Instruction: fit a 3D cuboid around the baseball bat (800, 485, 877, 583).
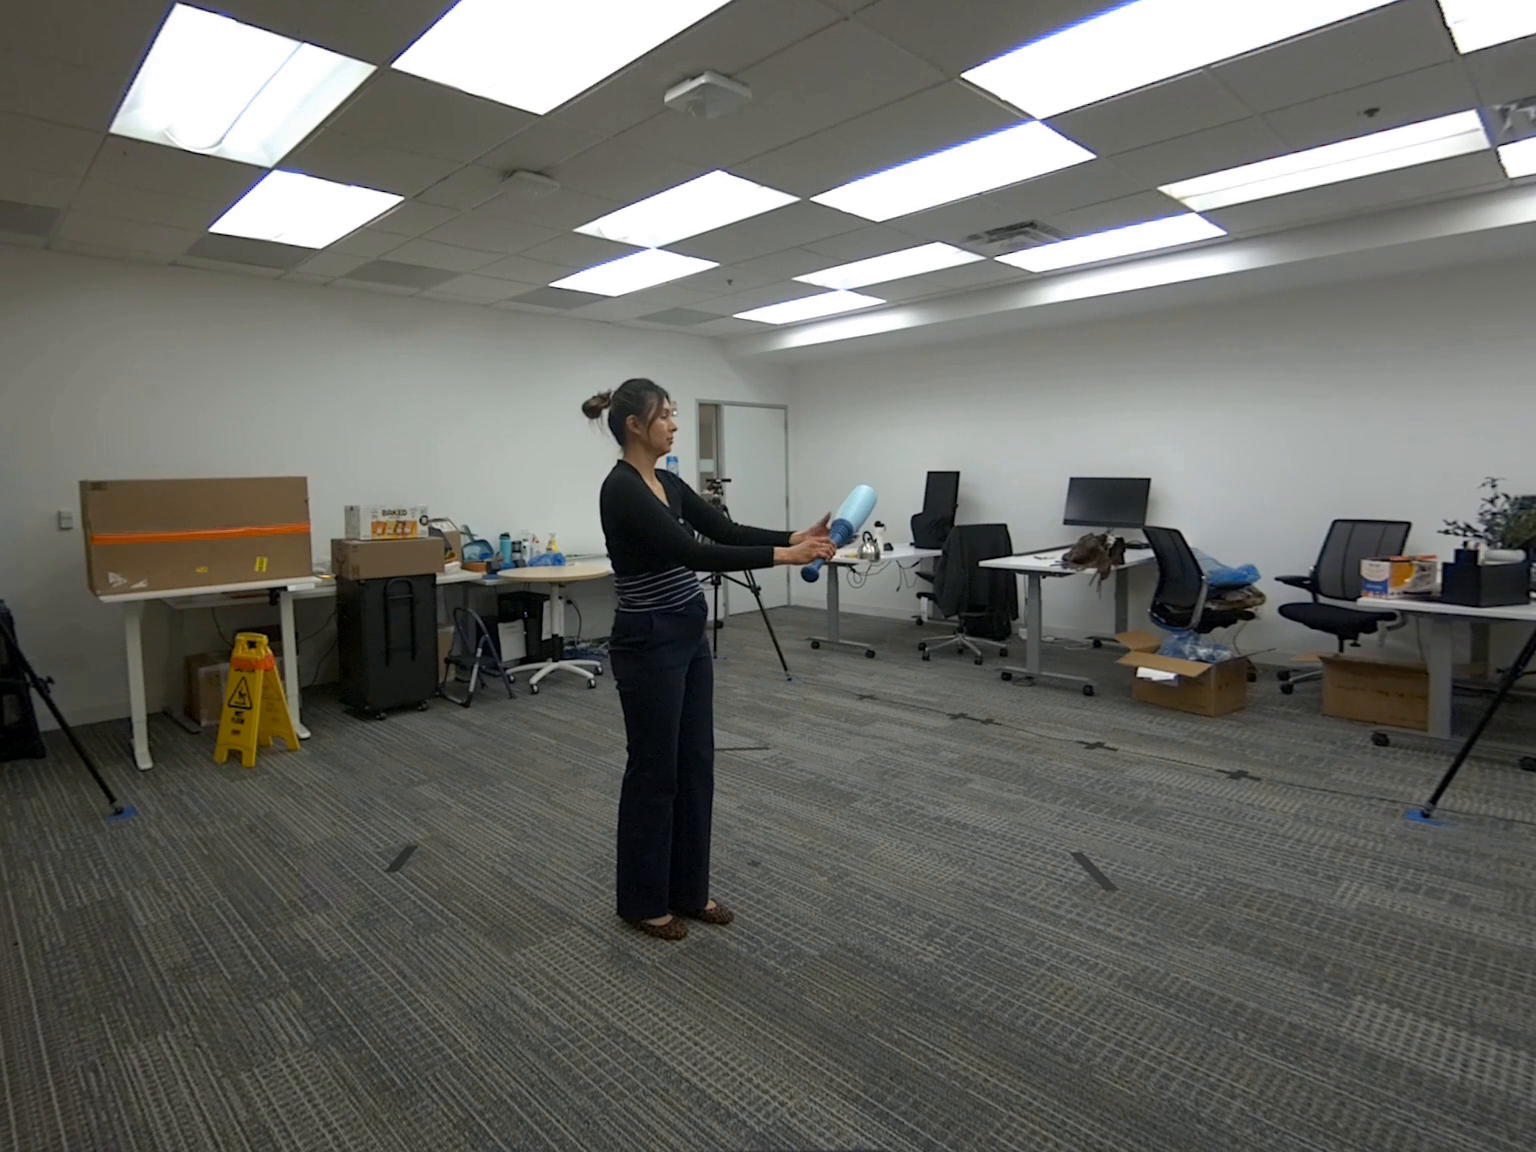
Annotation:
[{"bbox_3d":[0.213,-0.127,2.492,0.091,0.087,0.544,1,28,24],"label":"baseball bat"}]
